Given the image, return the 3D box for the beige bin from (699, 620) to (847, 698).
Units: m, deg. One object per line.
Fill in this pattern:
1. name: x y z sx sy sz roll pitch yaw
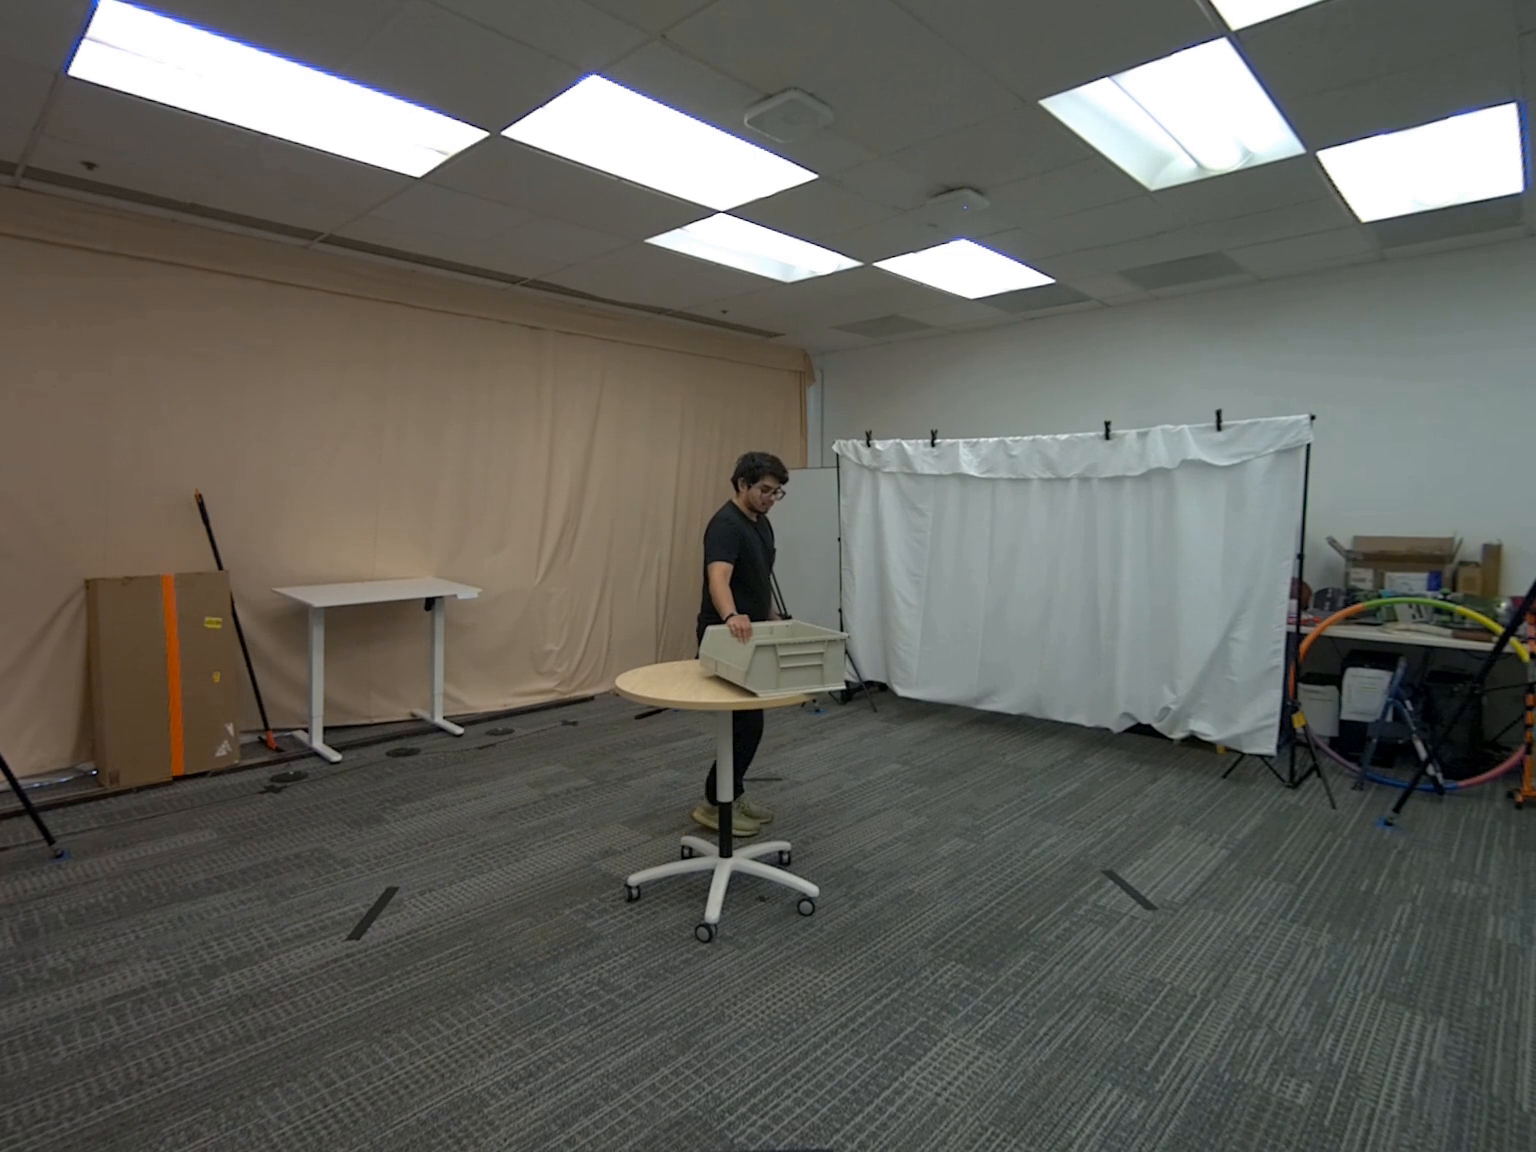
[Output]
1. beige bin: 0.019 0.273 2.884 0.369 0.189 0.432 -1 3 -23
